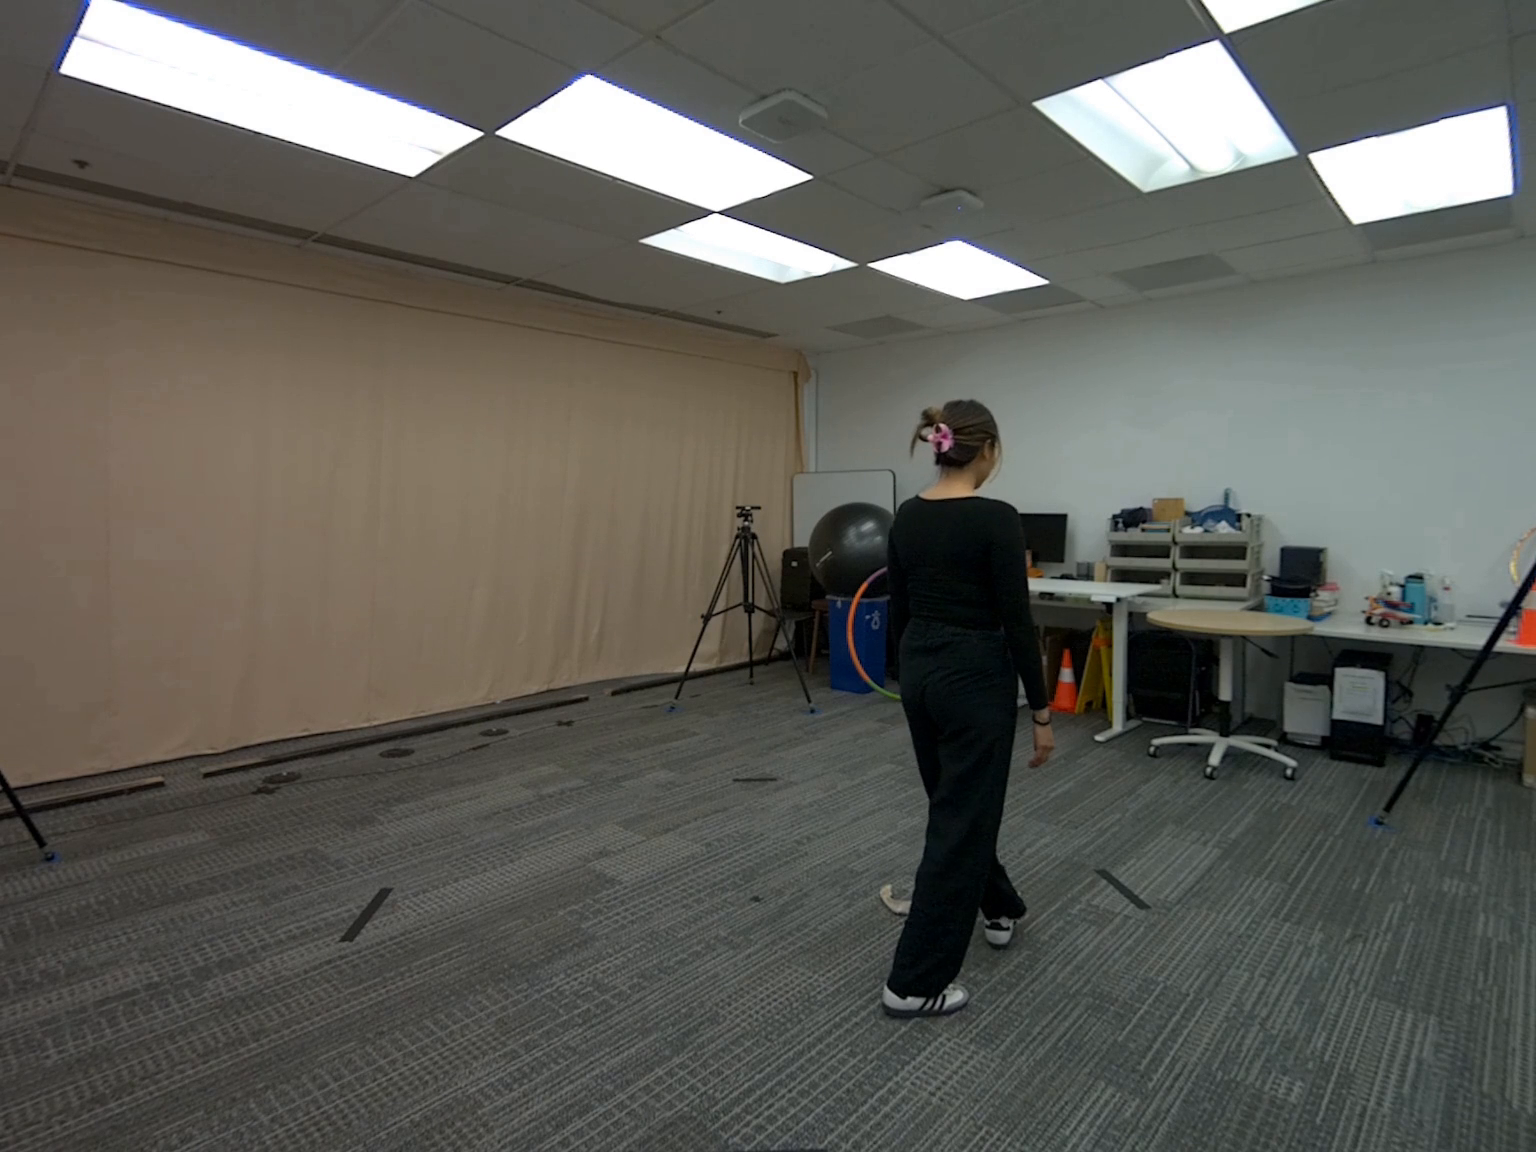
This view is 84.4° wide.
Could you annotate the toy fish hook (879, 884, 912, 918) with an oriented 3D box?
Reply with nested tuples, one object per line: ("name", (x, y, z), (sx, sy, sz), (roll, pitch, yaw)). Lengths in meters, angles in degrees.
("toy fish hook", (0.542, 1.114, 3.081), (0.228, 0.048, 0.499), (2, 5, 13))
